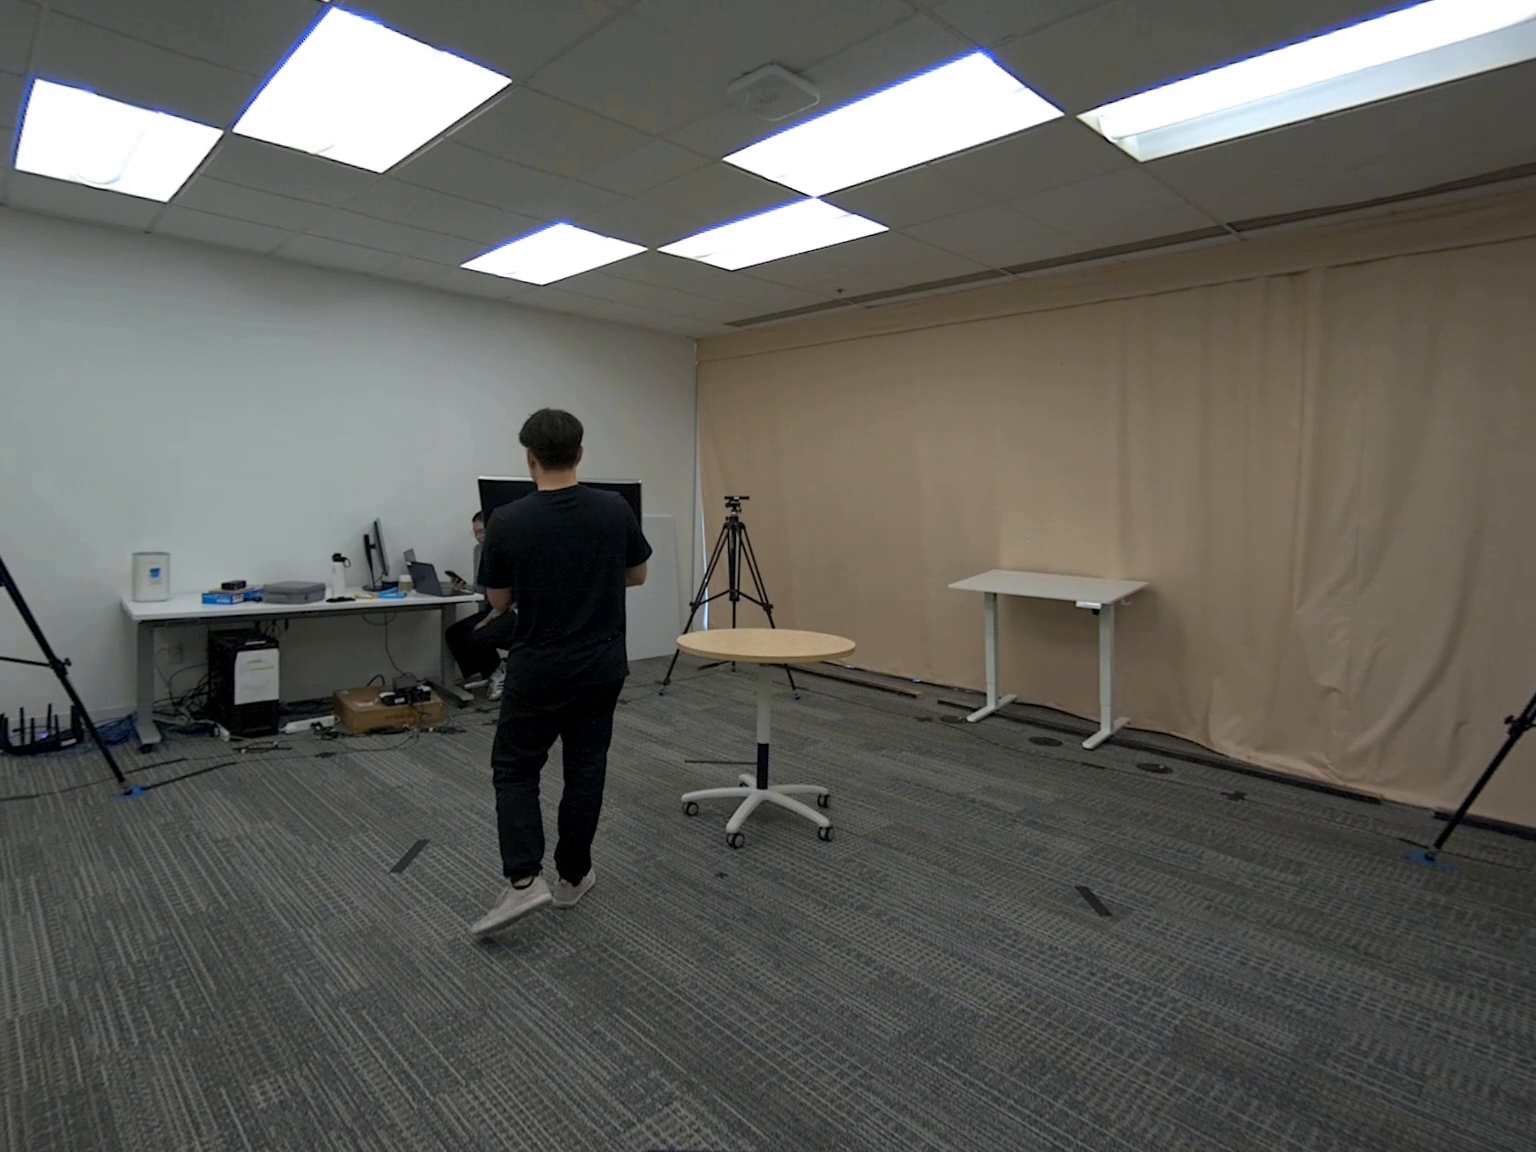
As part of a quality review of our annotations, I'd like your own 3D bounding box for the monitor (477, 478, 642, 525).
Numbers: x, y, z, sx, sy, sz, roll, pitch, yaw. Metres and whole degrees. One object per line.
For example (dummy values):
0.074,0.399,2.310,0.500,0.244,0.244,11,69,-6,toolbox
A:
-0.729,-0.074,2.957,0.537,0.516,0.190,0,17,-4,monitor
